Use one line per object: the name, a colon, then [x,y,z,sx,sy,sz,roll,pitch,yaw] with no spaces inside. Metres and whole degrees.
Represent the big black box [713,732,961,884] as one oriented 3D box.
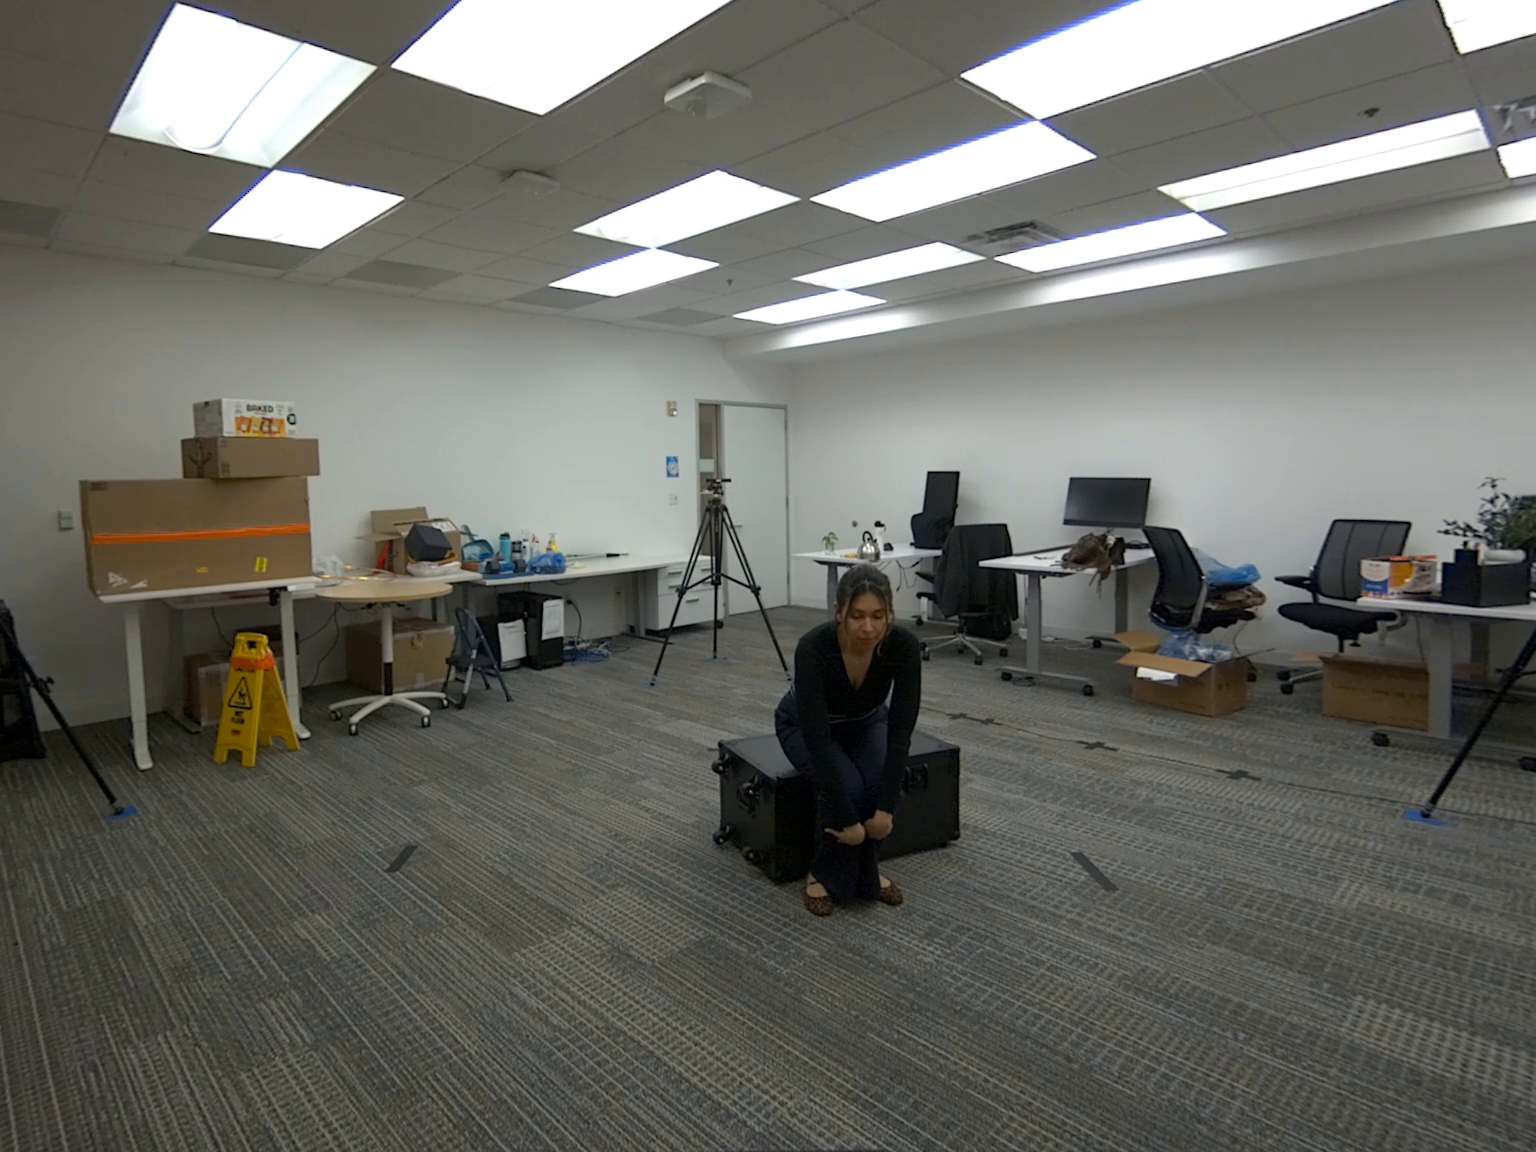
big black box: [0.293,0.826,3.290,0.844,0.395,0.534,-4,6,-25]
